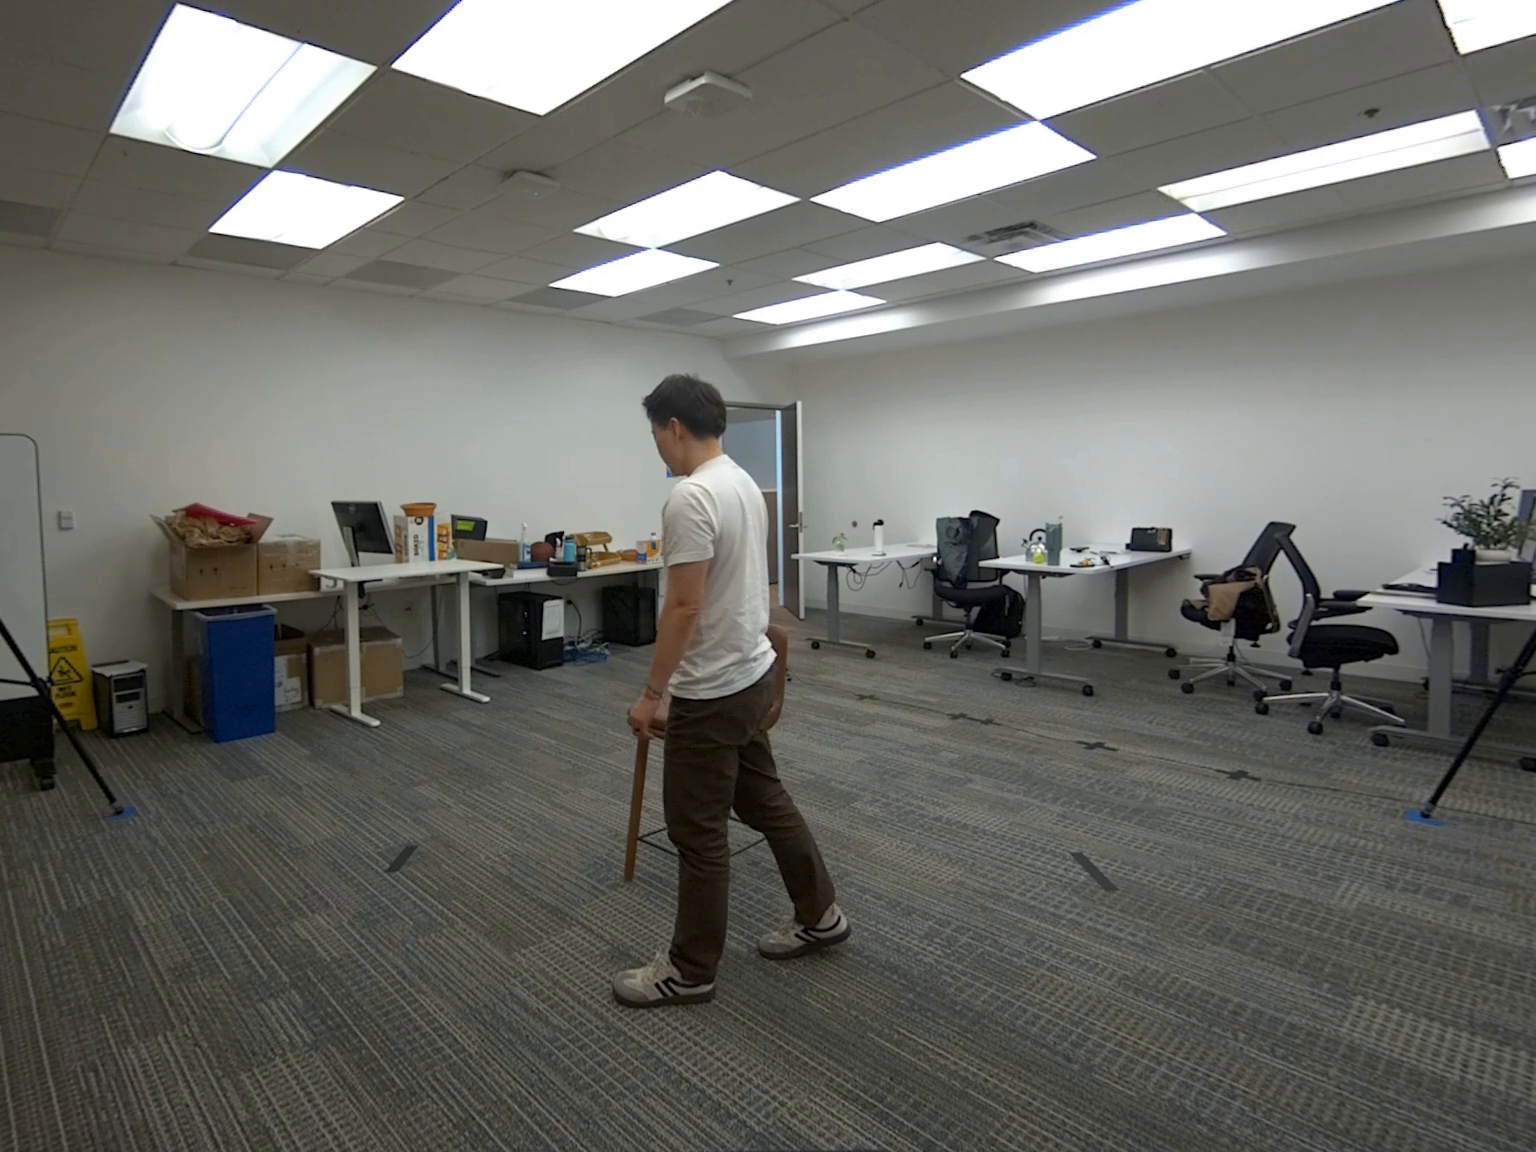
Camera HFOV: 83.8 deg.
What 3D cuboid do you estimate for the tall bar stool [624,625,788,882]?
[{"bbox_3d":[-0.213,0.624,2.994,0.470,0.888,0.454,3,3,43],"label":"tall bar stool"}]
